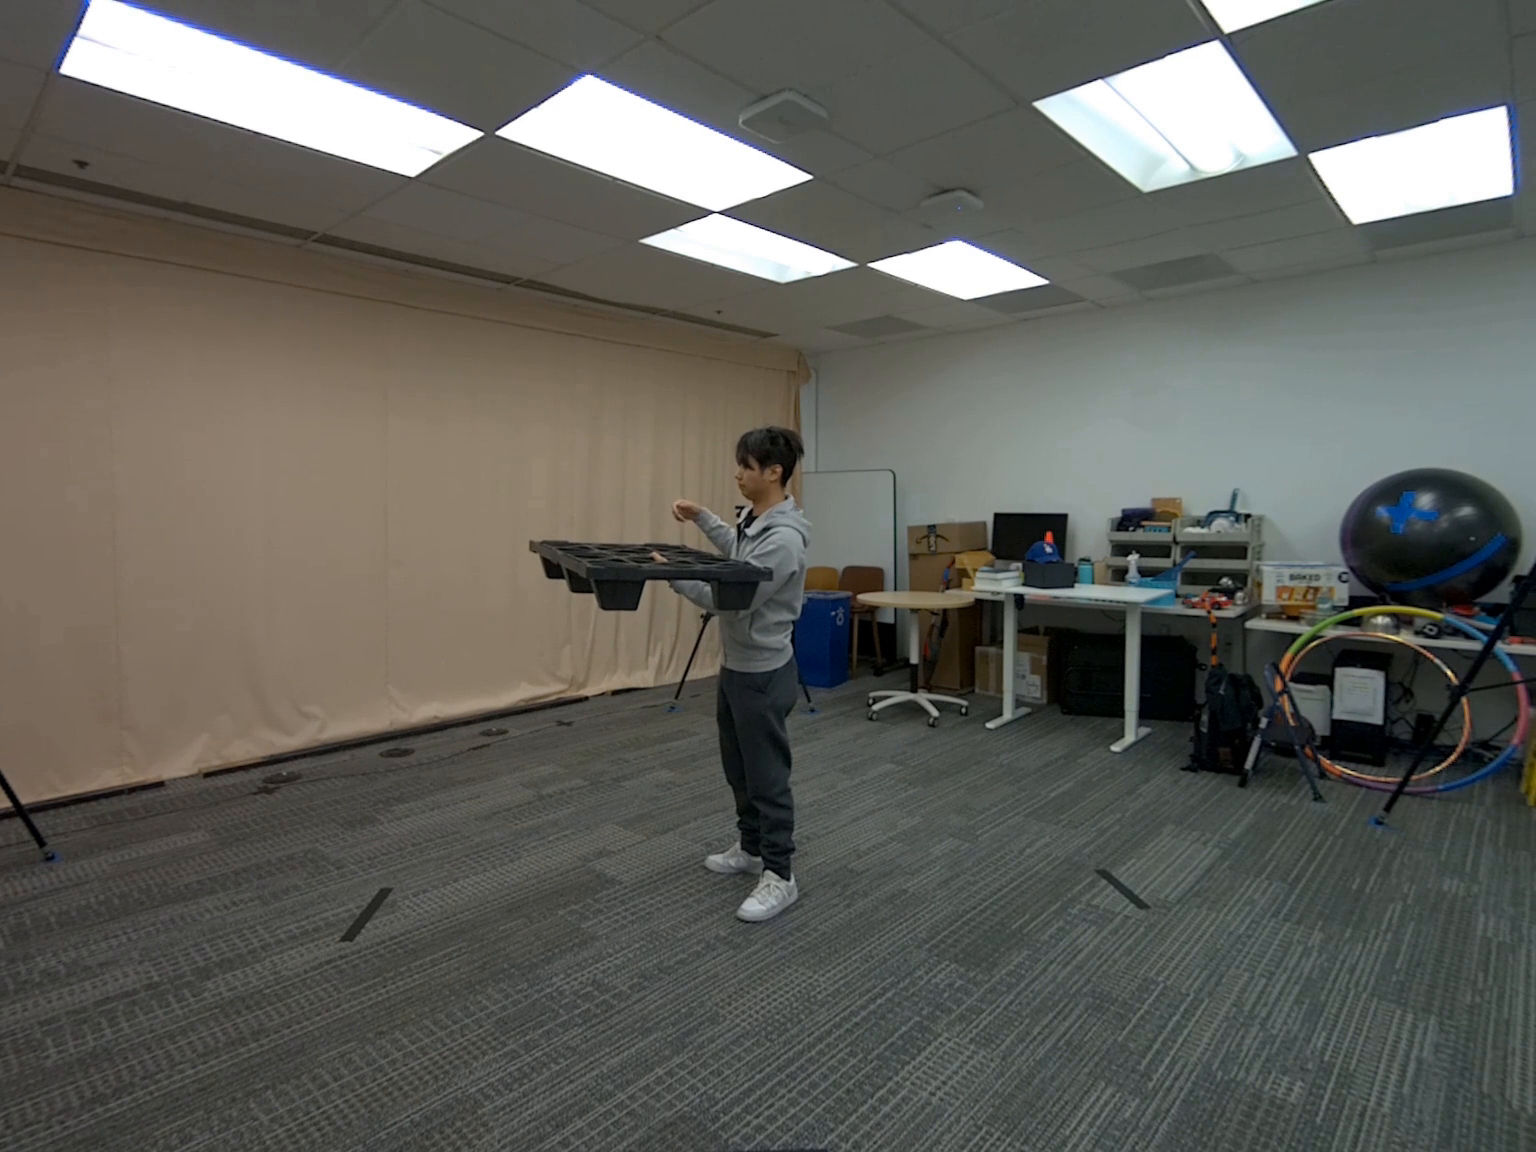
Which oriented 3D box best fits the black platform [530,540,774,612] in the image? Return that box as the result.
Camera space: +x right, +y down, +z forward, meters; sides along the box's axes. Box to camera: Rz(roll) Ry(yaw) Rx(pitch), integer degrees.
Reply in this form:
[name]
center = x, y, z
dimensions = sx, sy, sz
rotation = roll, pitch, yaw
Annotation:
[black platform]
center = -0.436, -0.009, 2.830
dimensions = 0.590, 0.143, 0.828
rotation = 0, 7, -26
